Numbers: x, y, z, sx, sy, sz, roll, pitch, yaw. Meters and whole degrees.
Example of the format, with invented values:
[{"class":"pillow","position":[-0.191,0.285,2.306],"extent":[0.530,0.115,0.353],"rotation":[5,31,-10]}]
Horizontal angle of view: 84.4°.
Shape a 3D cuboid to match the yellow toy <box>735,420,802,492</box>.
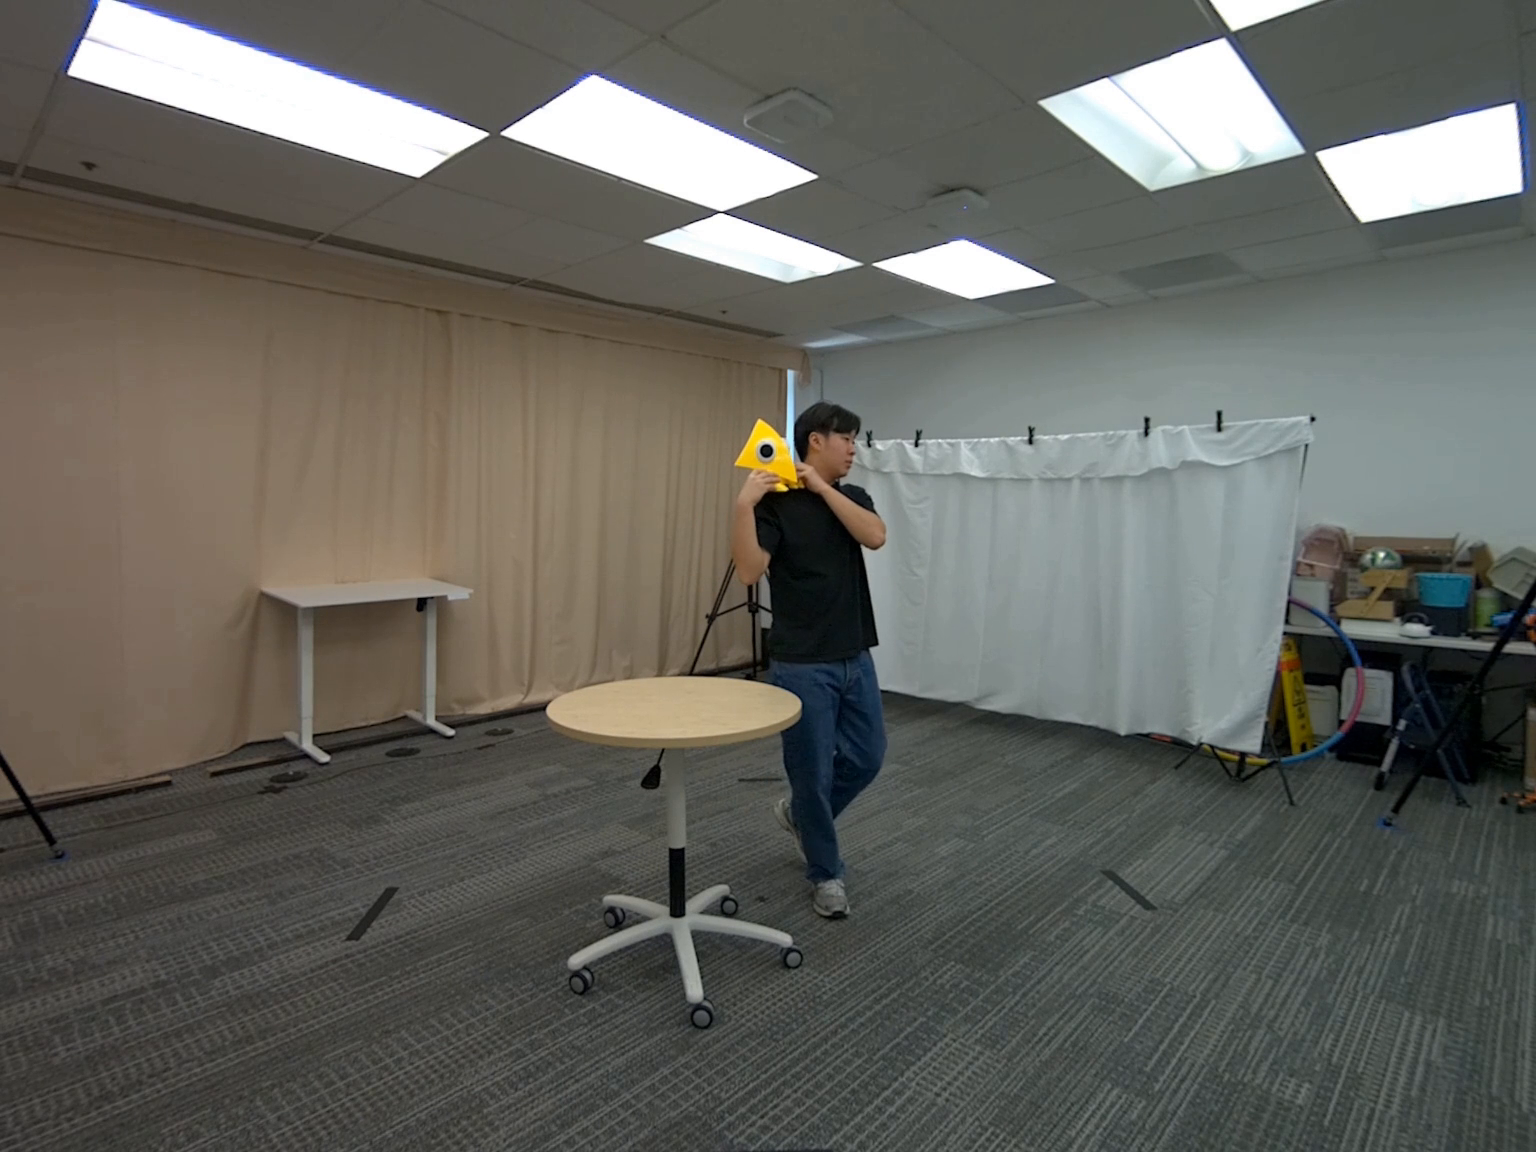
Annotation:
[{"class":"yellow toy","position":[0.025,-0.416,2.876],"extent":[0.199,0.229,0.199],"rotation":[8,13,32]}]
